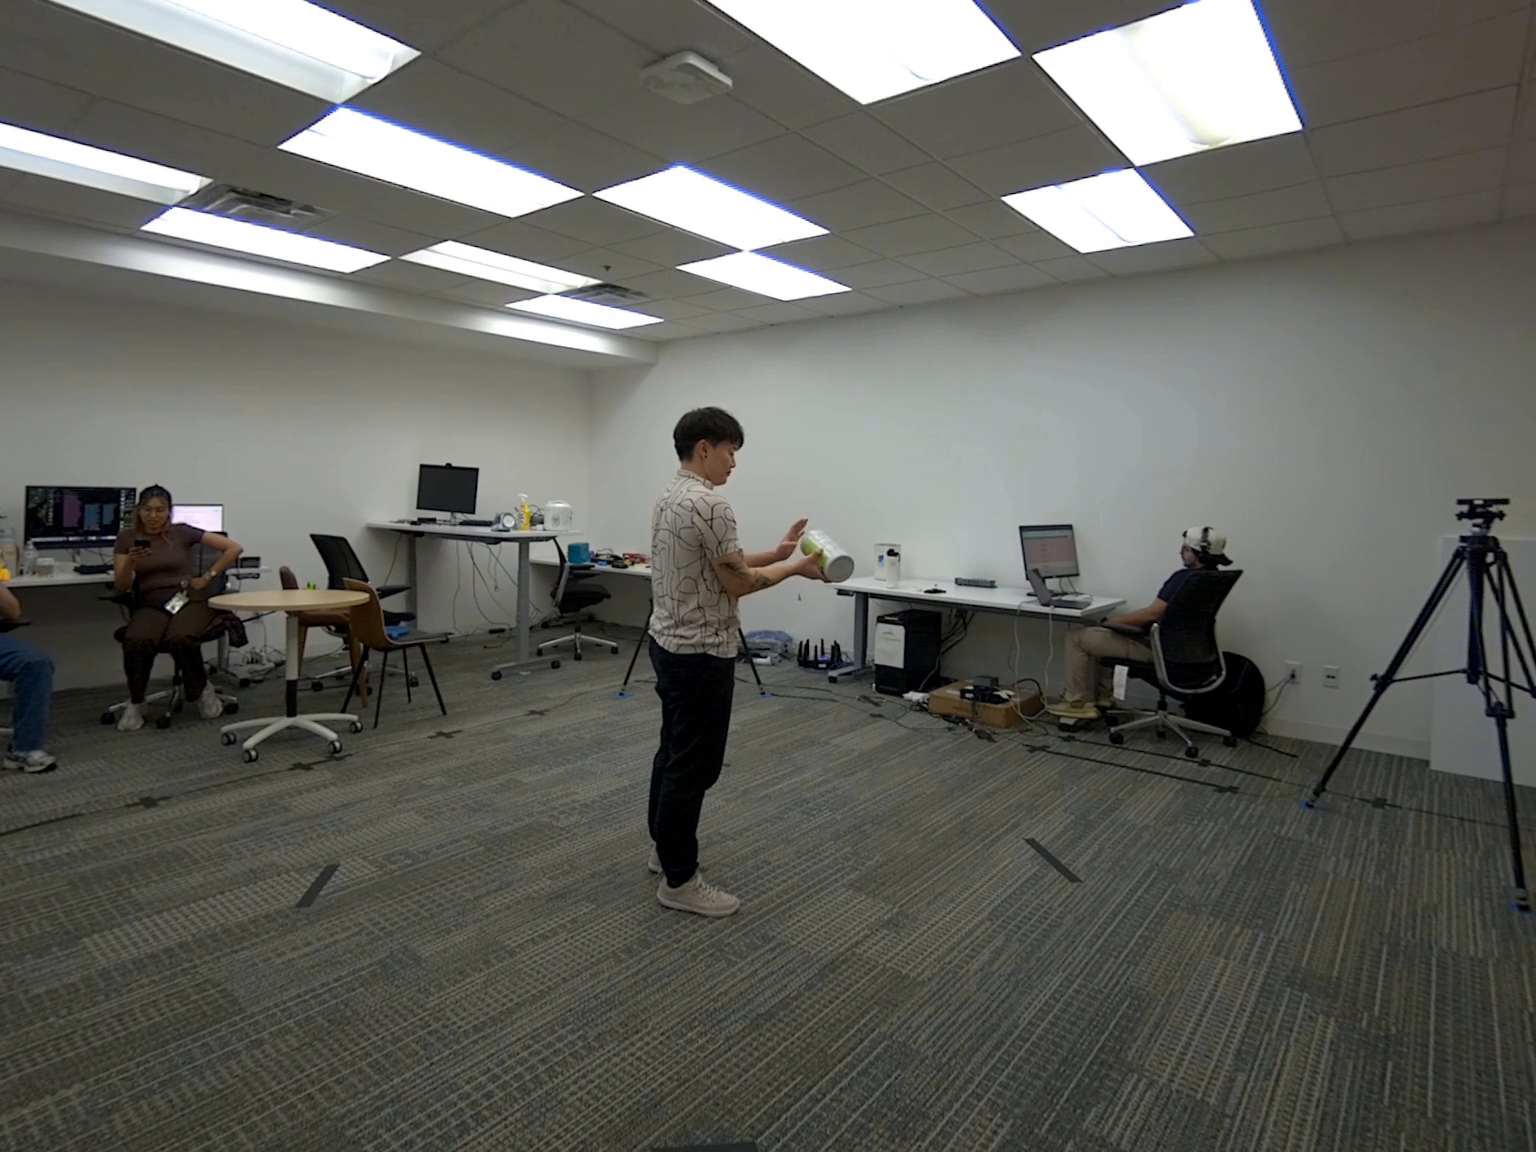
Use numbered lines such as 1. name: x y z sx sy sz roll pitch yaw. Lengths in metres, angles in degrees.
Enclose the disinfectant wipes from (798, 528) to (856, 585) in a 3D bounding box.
1. disinfectant wipes: 0.197 -0.077 2.990 0.115 0.116 0.226 -1 29 -27
